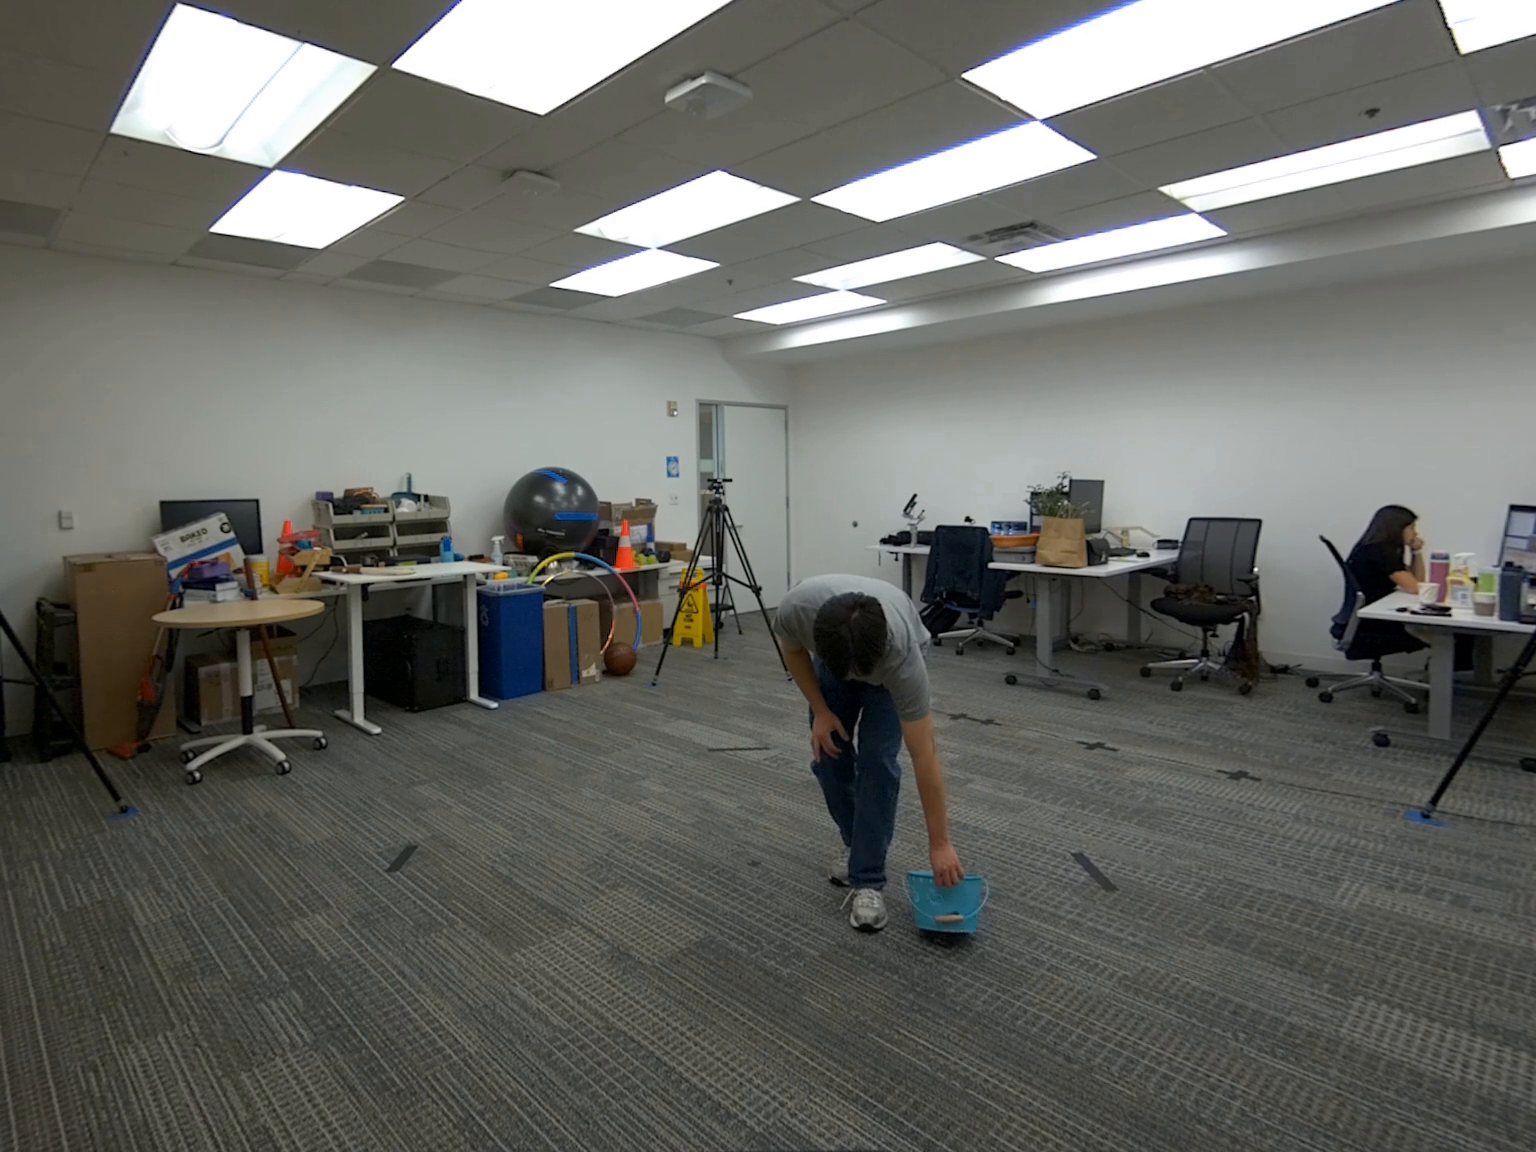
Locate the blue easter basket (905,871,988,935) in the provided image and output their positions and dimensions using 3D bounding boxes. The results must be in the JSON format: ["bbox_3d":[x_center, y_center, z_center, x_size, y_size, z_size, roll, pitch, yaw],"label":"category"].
[{"bbox_3d":[0.539,0.992,2.592,0.243,0.158,0.240,2,-16,-1],"label":"blue easter basket"}]
